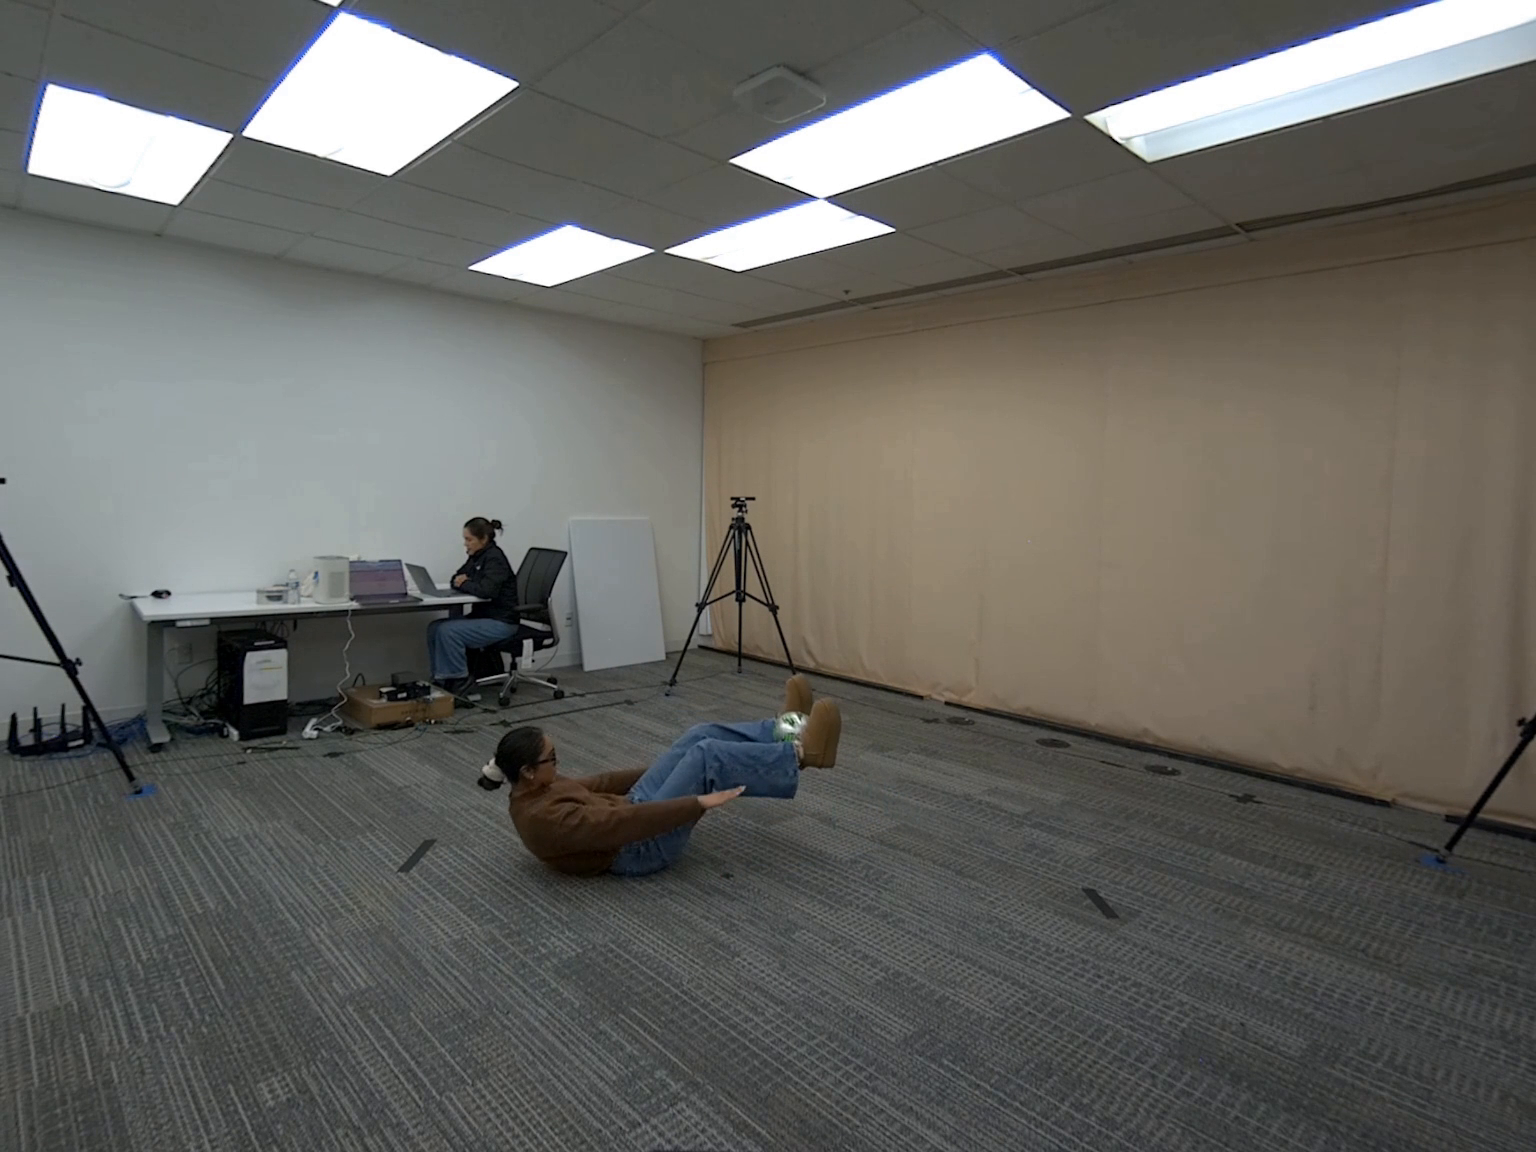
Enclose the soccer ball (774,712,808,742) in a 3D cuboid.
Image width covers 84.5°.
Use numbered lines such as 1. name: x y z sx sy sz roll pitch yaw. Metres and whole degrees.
1. soccer ball: 0.095 0.647 3.407 0.187 0.187 0.188 1 4 -1
